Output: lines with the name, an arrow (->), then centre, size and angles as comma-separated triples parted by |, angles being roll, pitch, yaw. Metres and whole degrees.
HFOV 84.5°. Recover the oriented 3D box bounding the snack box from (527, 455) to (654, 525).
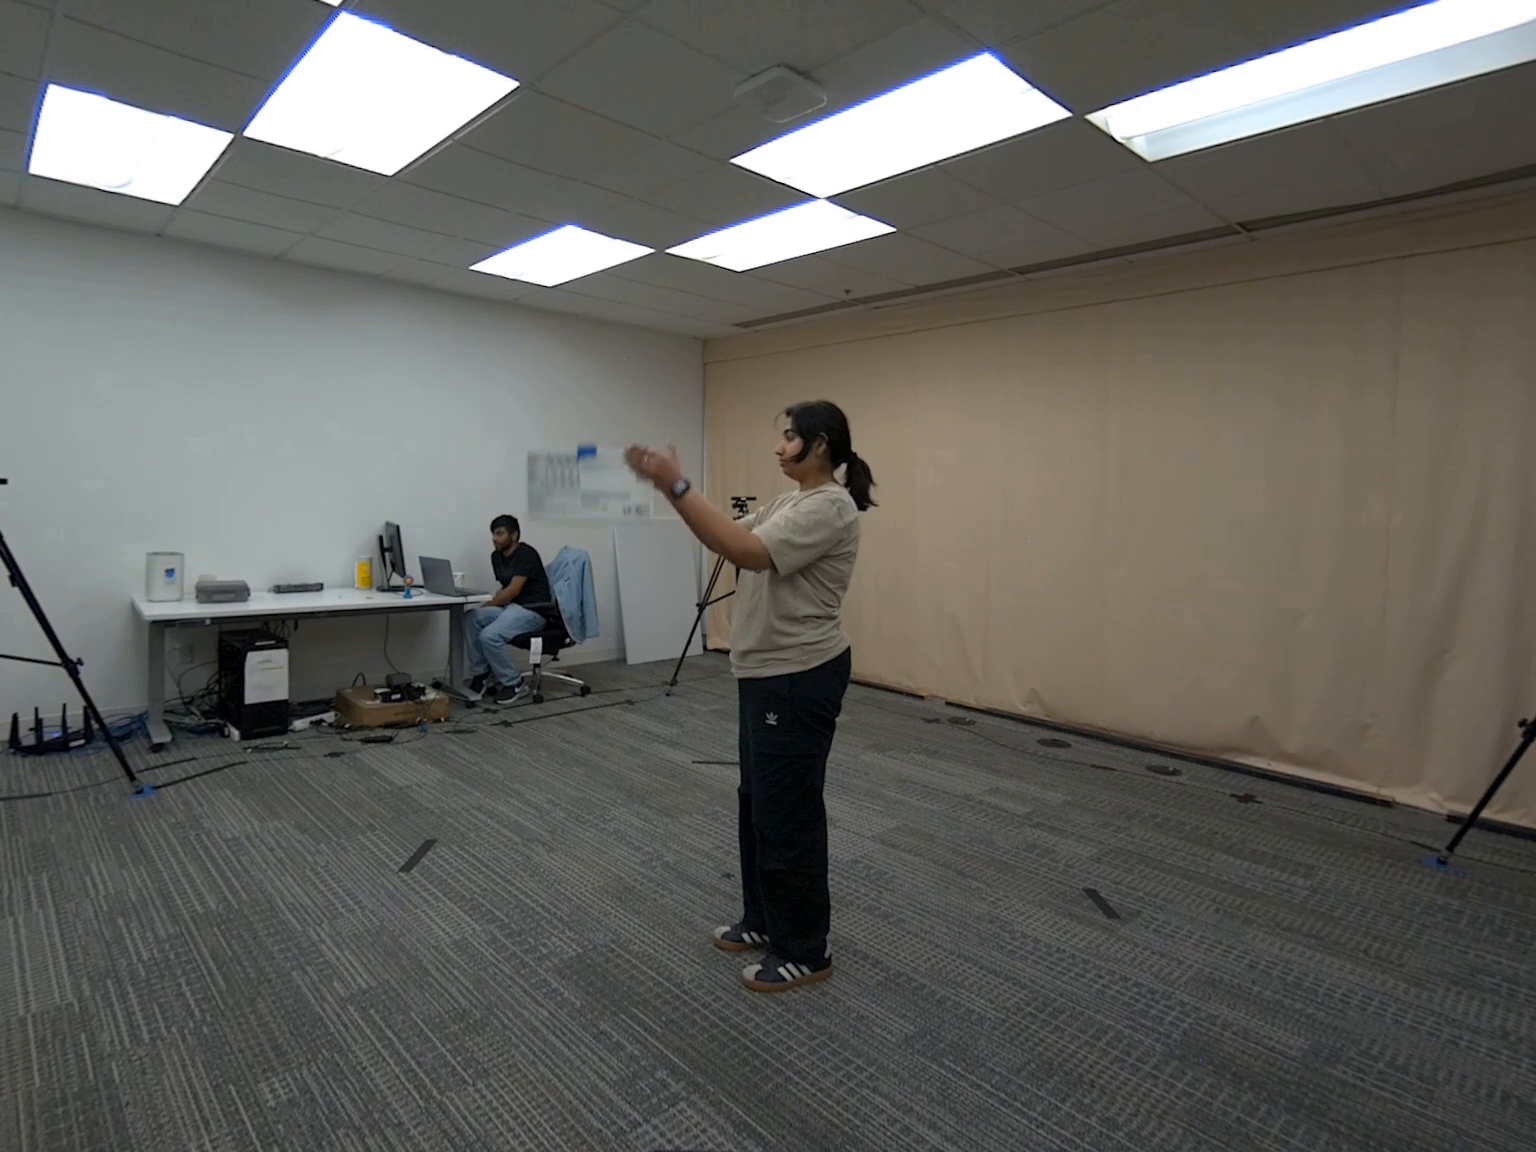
snack box -> -0.479, -0.211, 2.410 | 0.337, 0.205, 0.411 | 0, 7, -12
